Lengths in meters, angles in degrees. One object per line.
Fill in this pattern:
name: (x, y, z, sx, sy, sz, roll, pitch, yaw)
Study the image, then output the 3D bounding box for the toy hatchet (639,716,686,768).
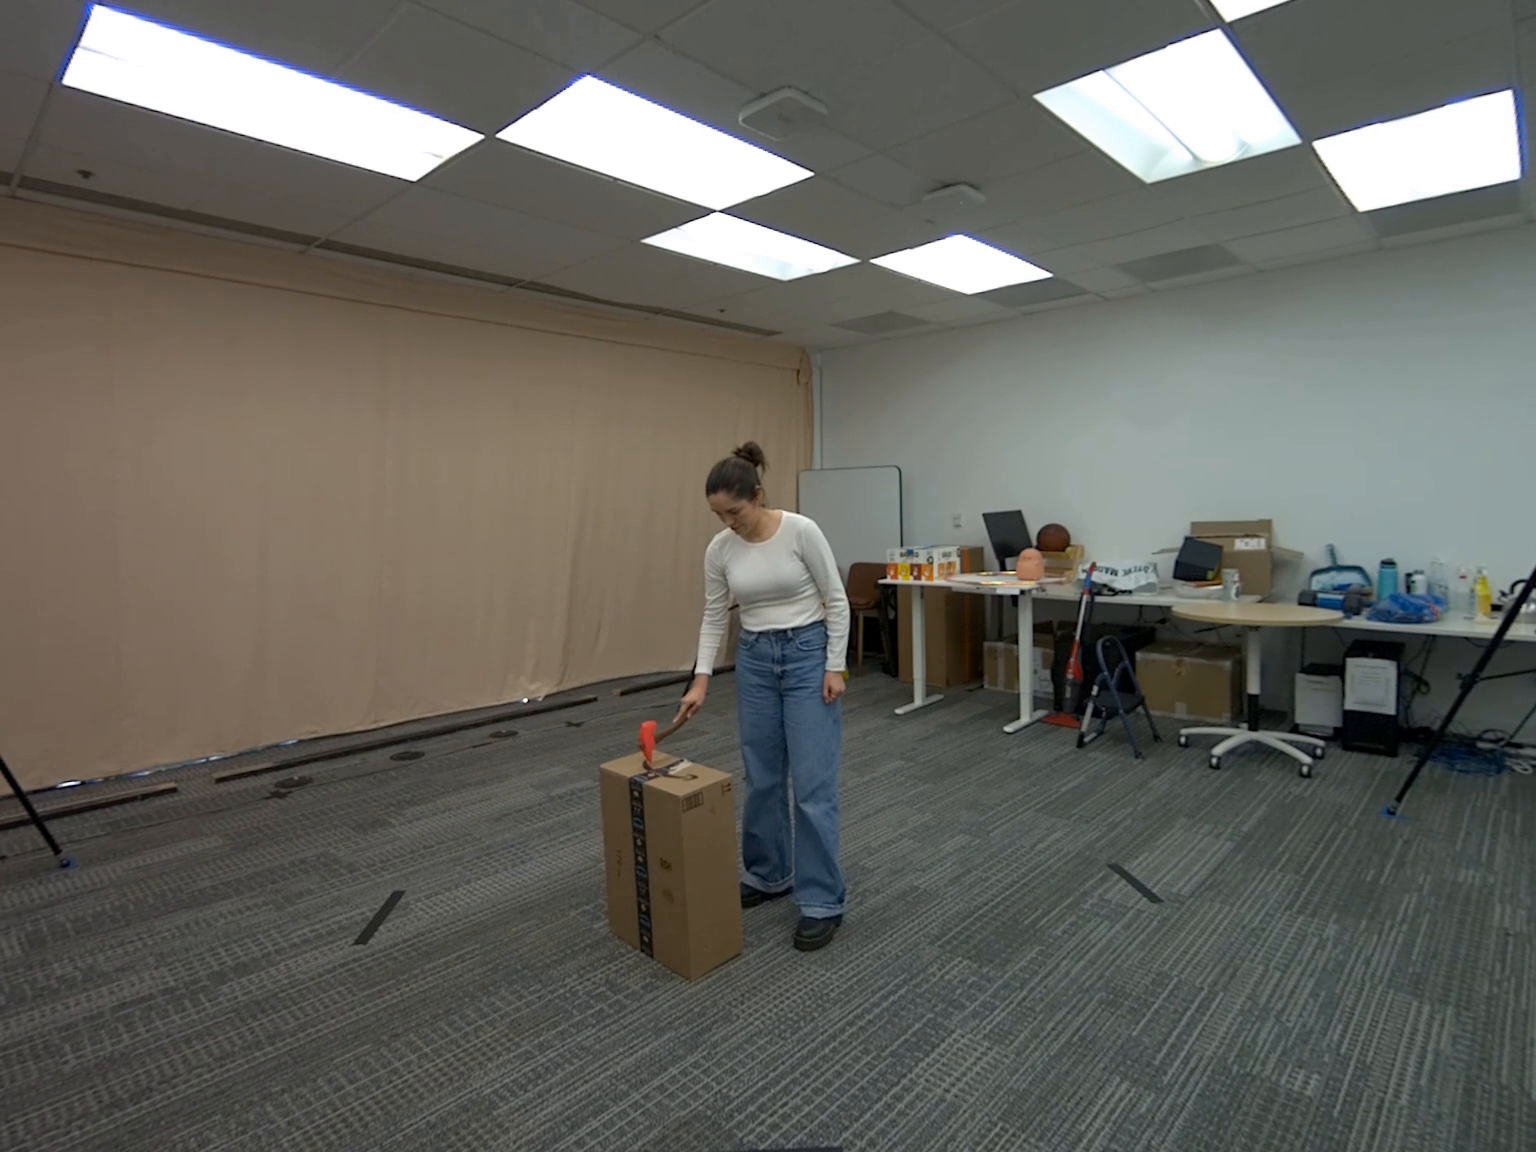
toy hatchet: (-0.339, 0.483, 2.763, 0.030, 0.128, 0.267, -2, 32, 40)
